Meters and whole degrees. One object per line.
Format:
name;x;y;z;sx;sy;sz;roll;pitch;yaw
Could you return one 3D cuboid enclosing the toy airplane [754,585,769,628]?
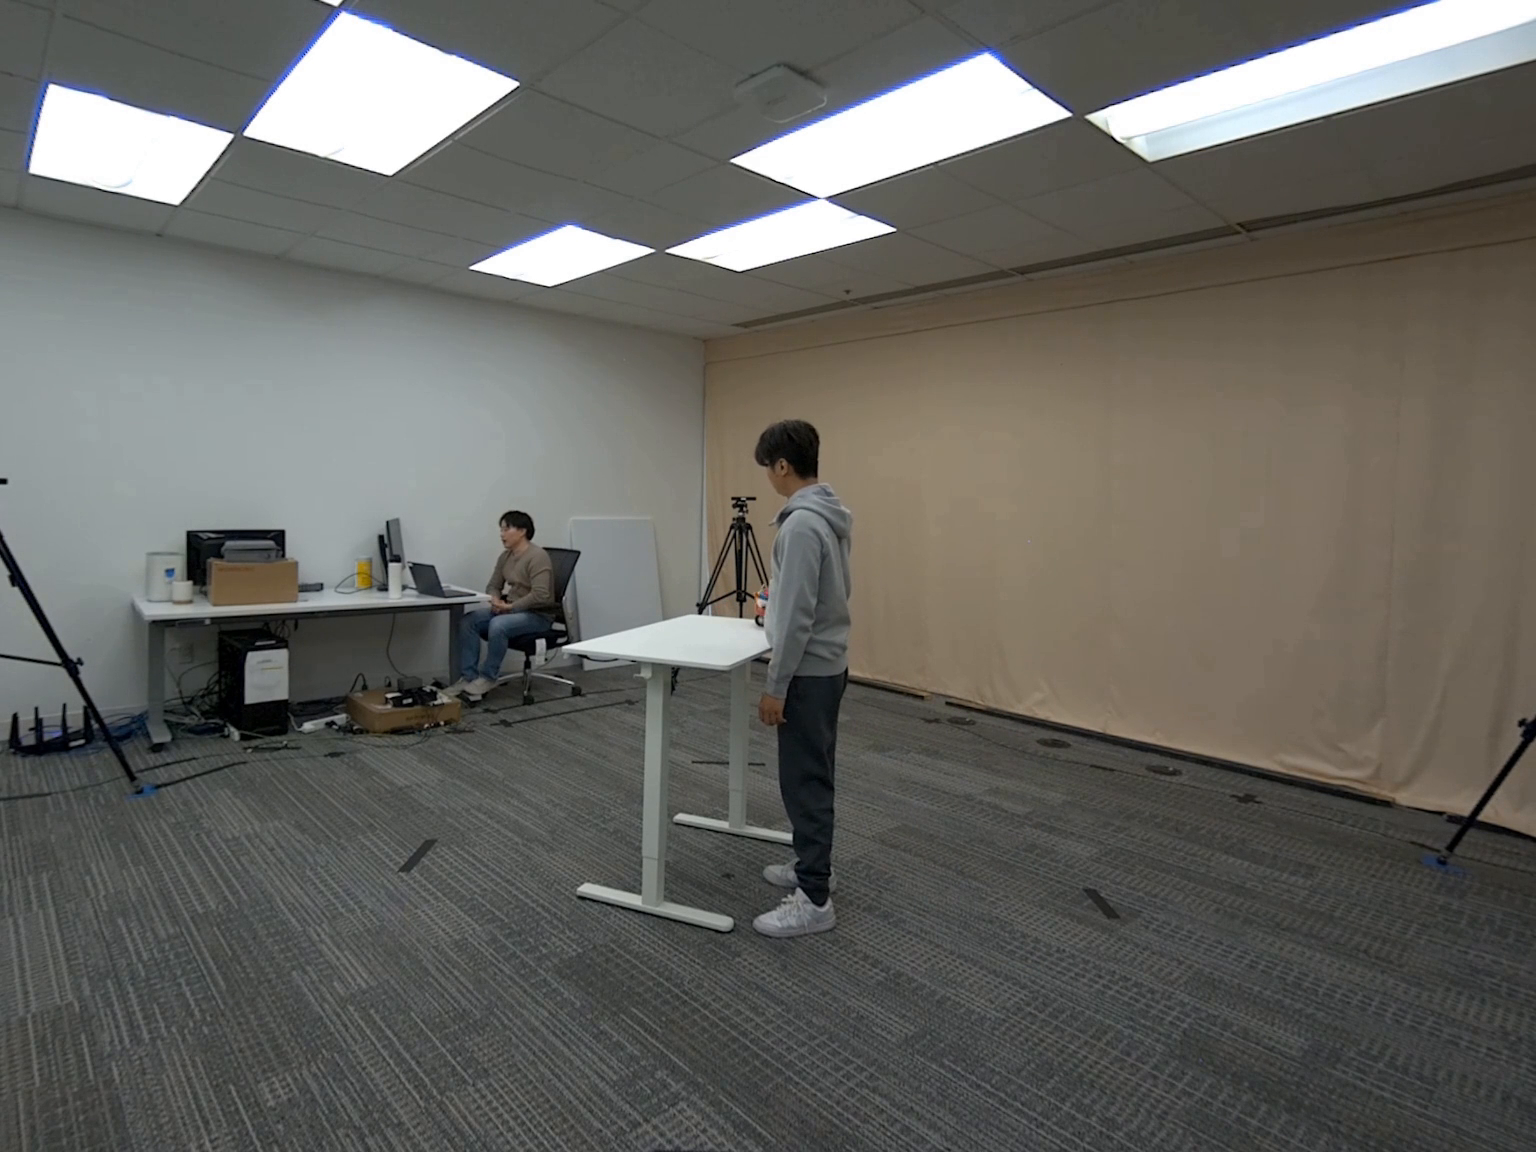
toy airplane;0.063;0.129;3.427;0.257;0.156;0.254;1;5;-11
